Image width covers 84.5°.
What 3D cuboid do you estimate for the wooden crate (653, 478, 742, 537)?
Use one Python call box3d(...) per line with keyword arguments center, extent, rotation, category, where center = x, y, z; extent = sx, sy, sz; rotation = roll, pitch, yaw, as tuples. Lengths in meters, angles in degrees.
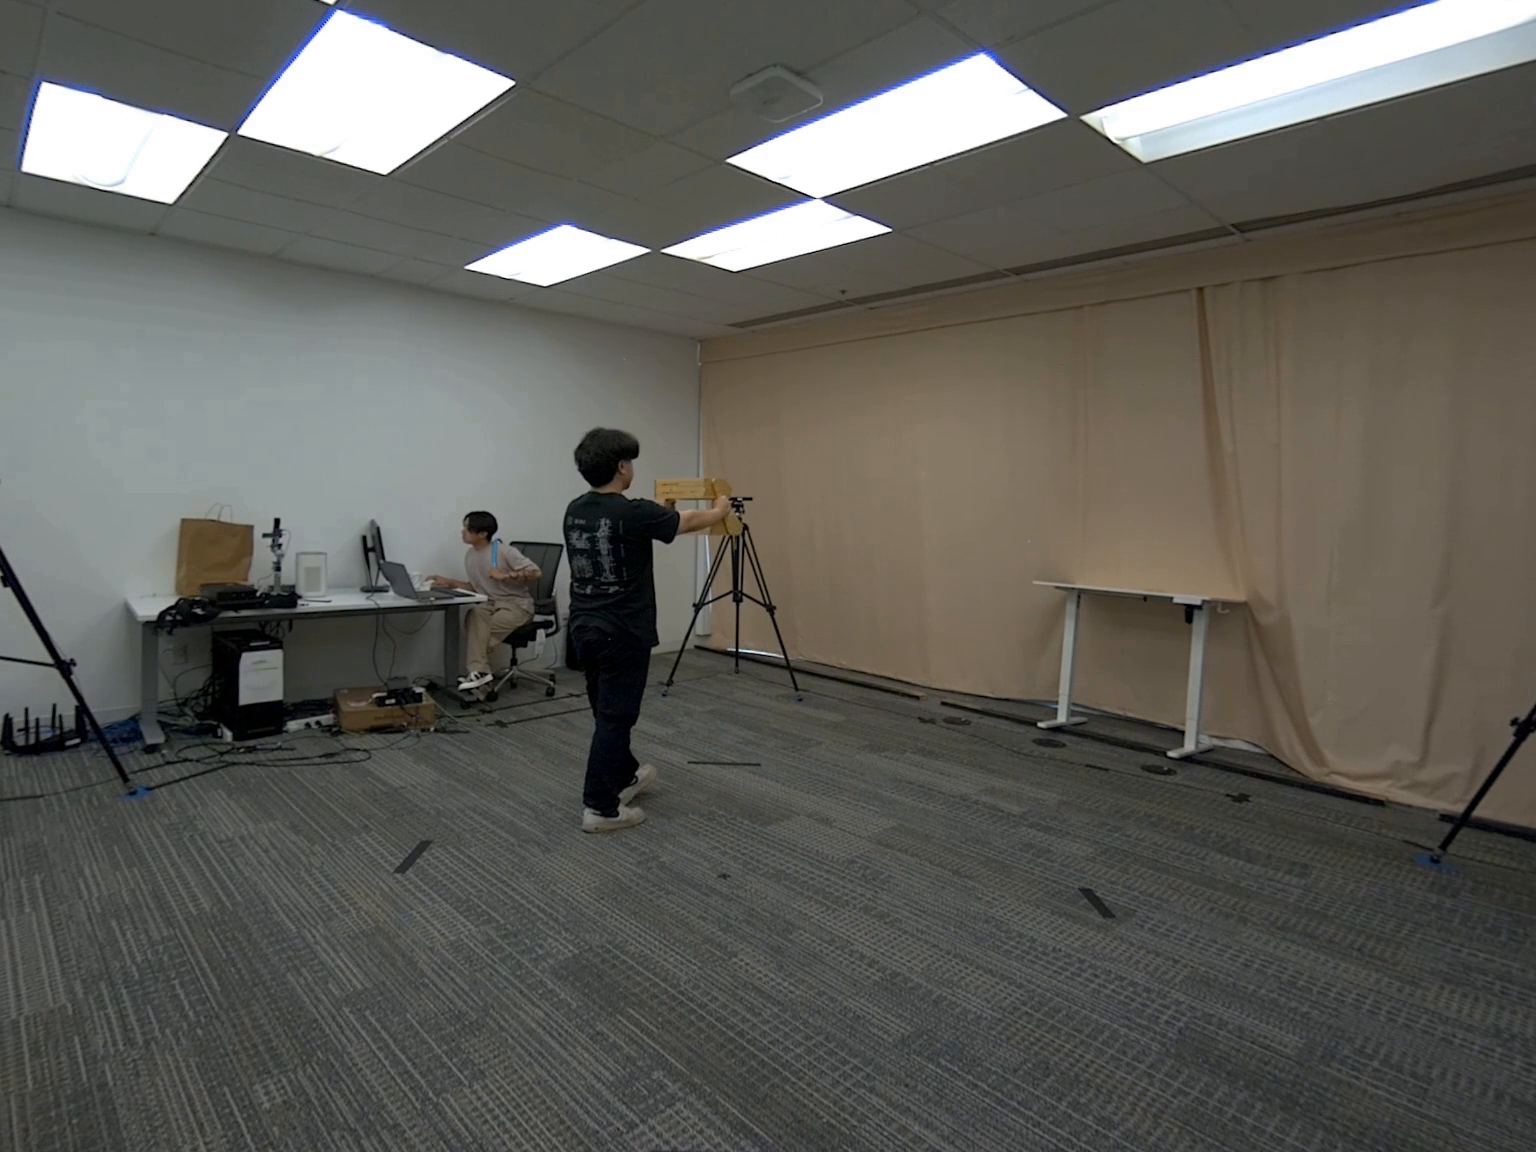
box3d(center=(-0.339, -0.333, 4.000), extent=(0.332, 0.273, 0.296), rotation=(2, 3, 34), category="wooden crate")
